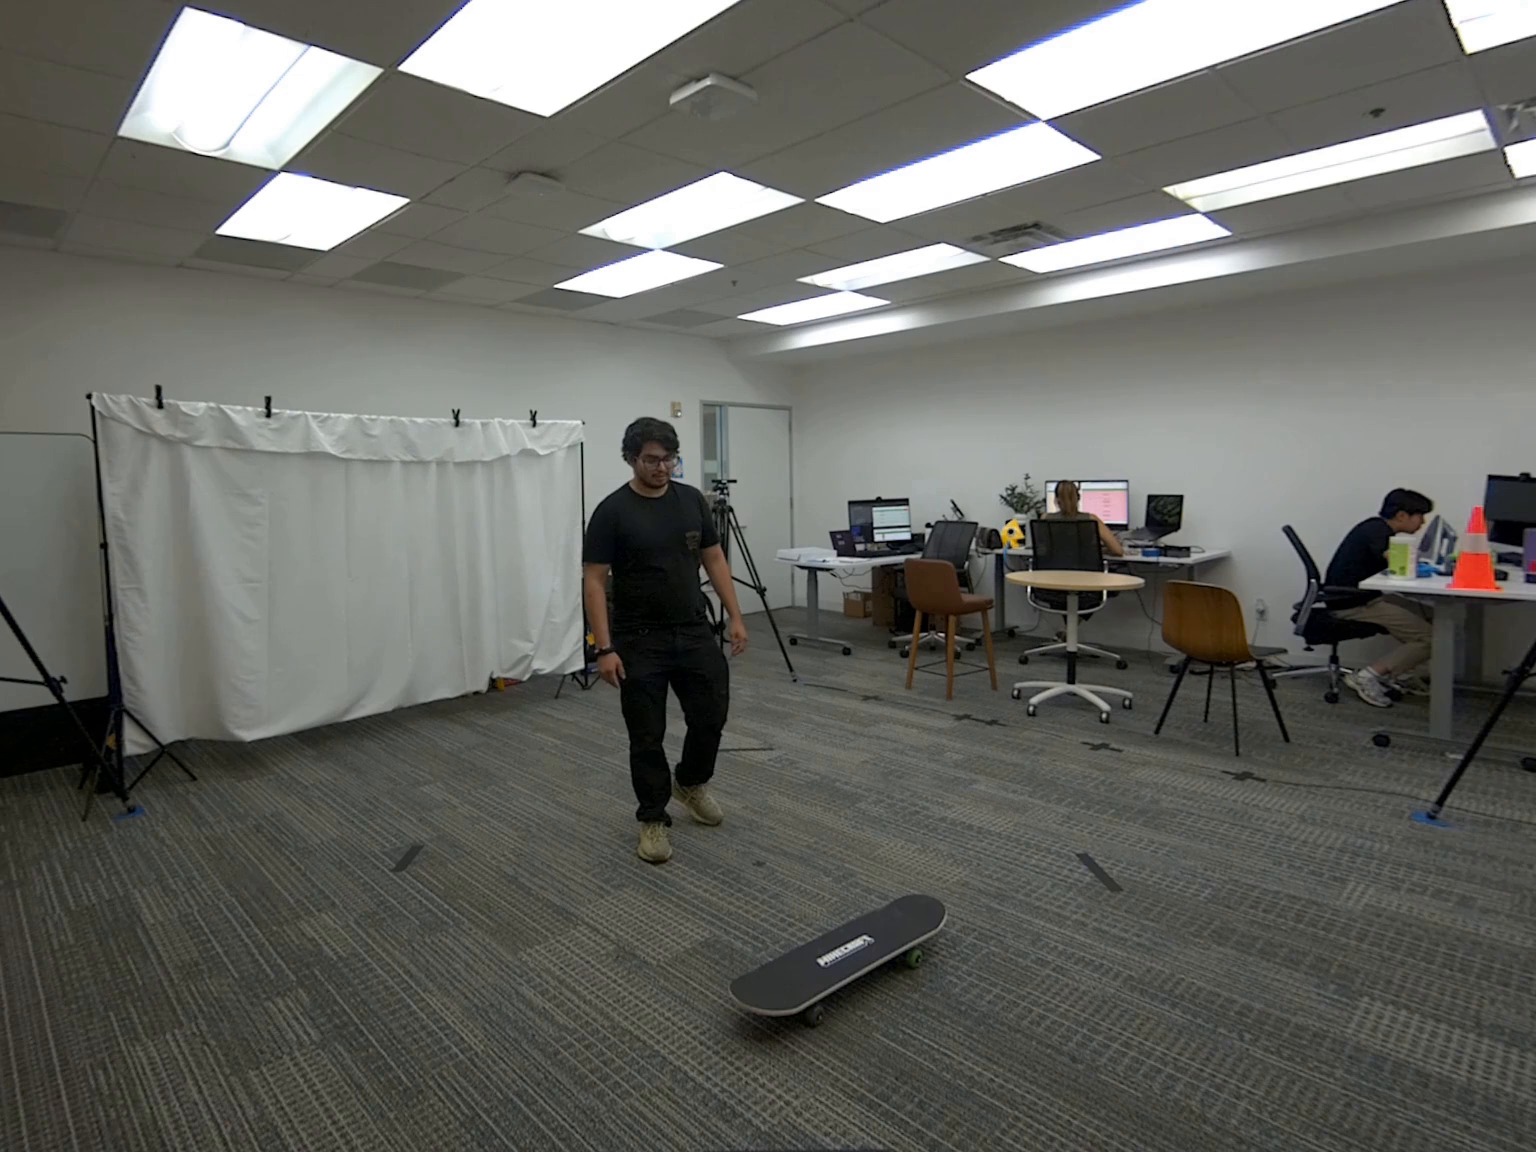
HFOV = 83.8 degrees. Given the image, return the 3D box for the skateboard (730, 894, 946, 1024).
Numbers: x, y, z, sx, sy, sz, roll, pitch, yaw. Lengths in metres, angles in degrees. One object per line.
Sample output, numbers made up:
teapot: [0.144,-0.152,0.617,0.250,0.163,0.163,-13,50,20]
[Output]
skateboard: [0.223,1.071,2.374,0.765,0.110,0.199,-7,8,-40]
